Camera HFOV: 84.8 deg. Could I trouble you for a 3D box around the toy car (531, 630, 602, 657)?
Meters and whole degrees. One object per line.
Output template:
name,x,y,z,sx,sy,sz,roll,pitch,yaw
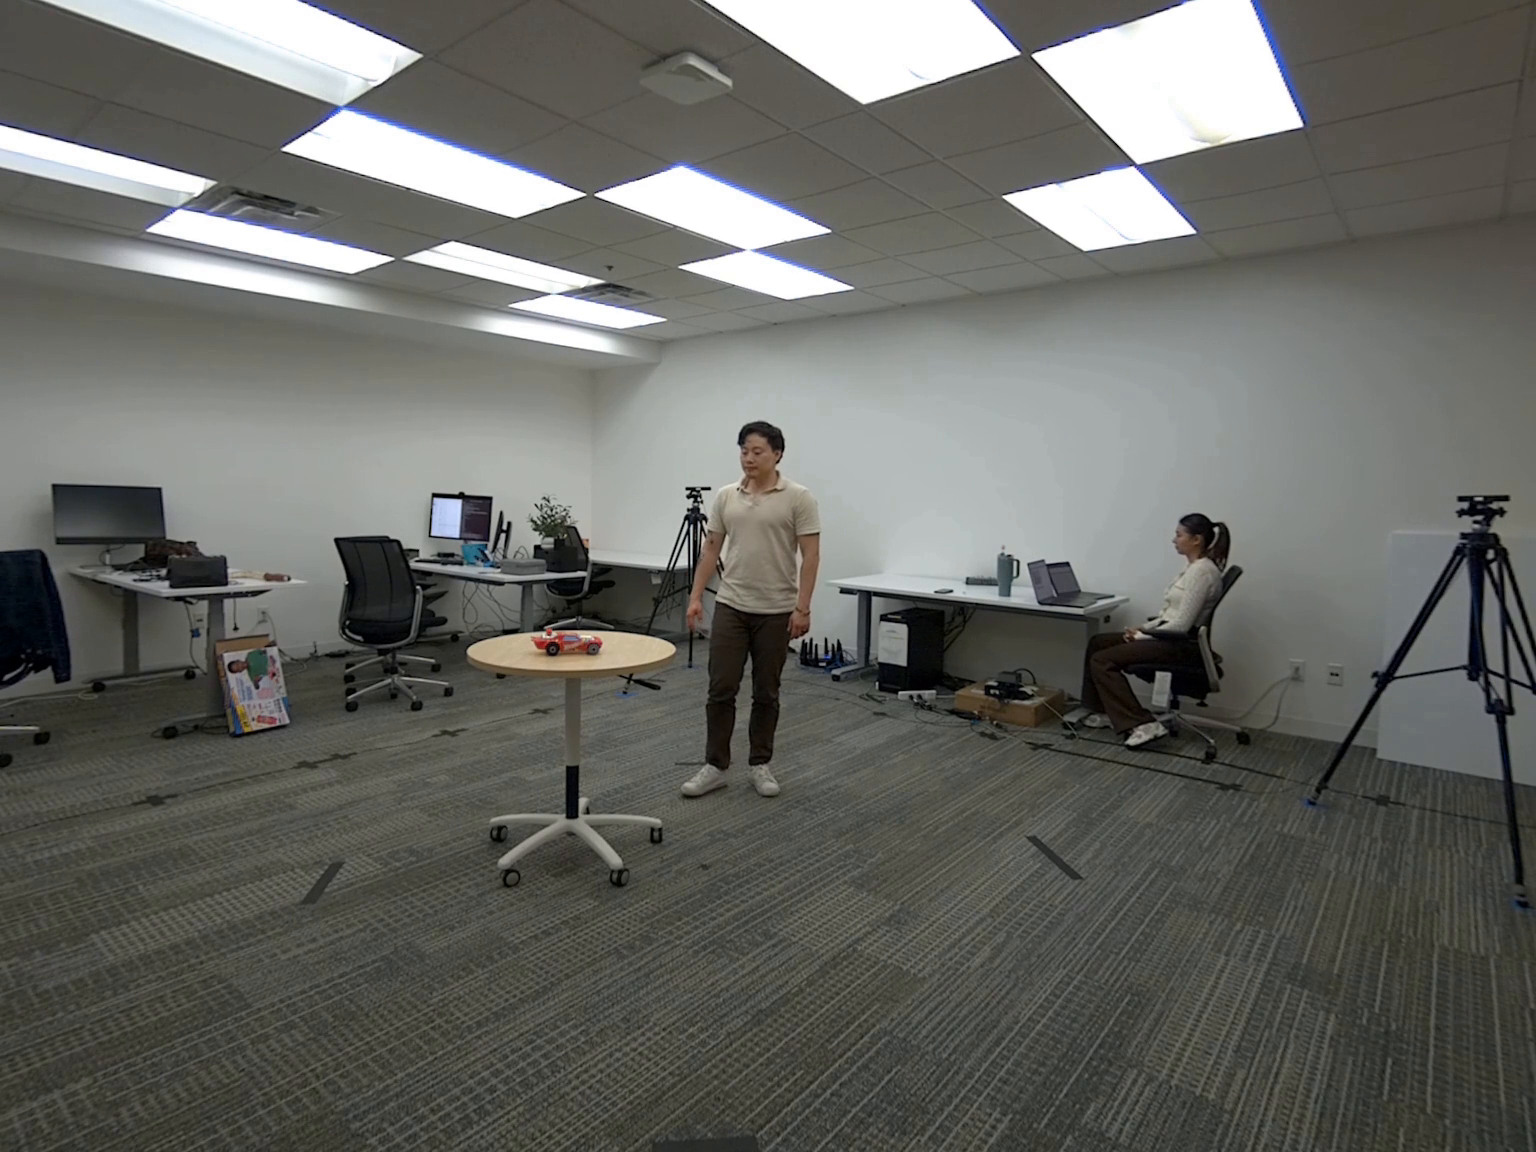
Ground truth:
toy car,-0.750,0.243,3.083,0.250,0.083,0.133,12,2,-16
